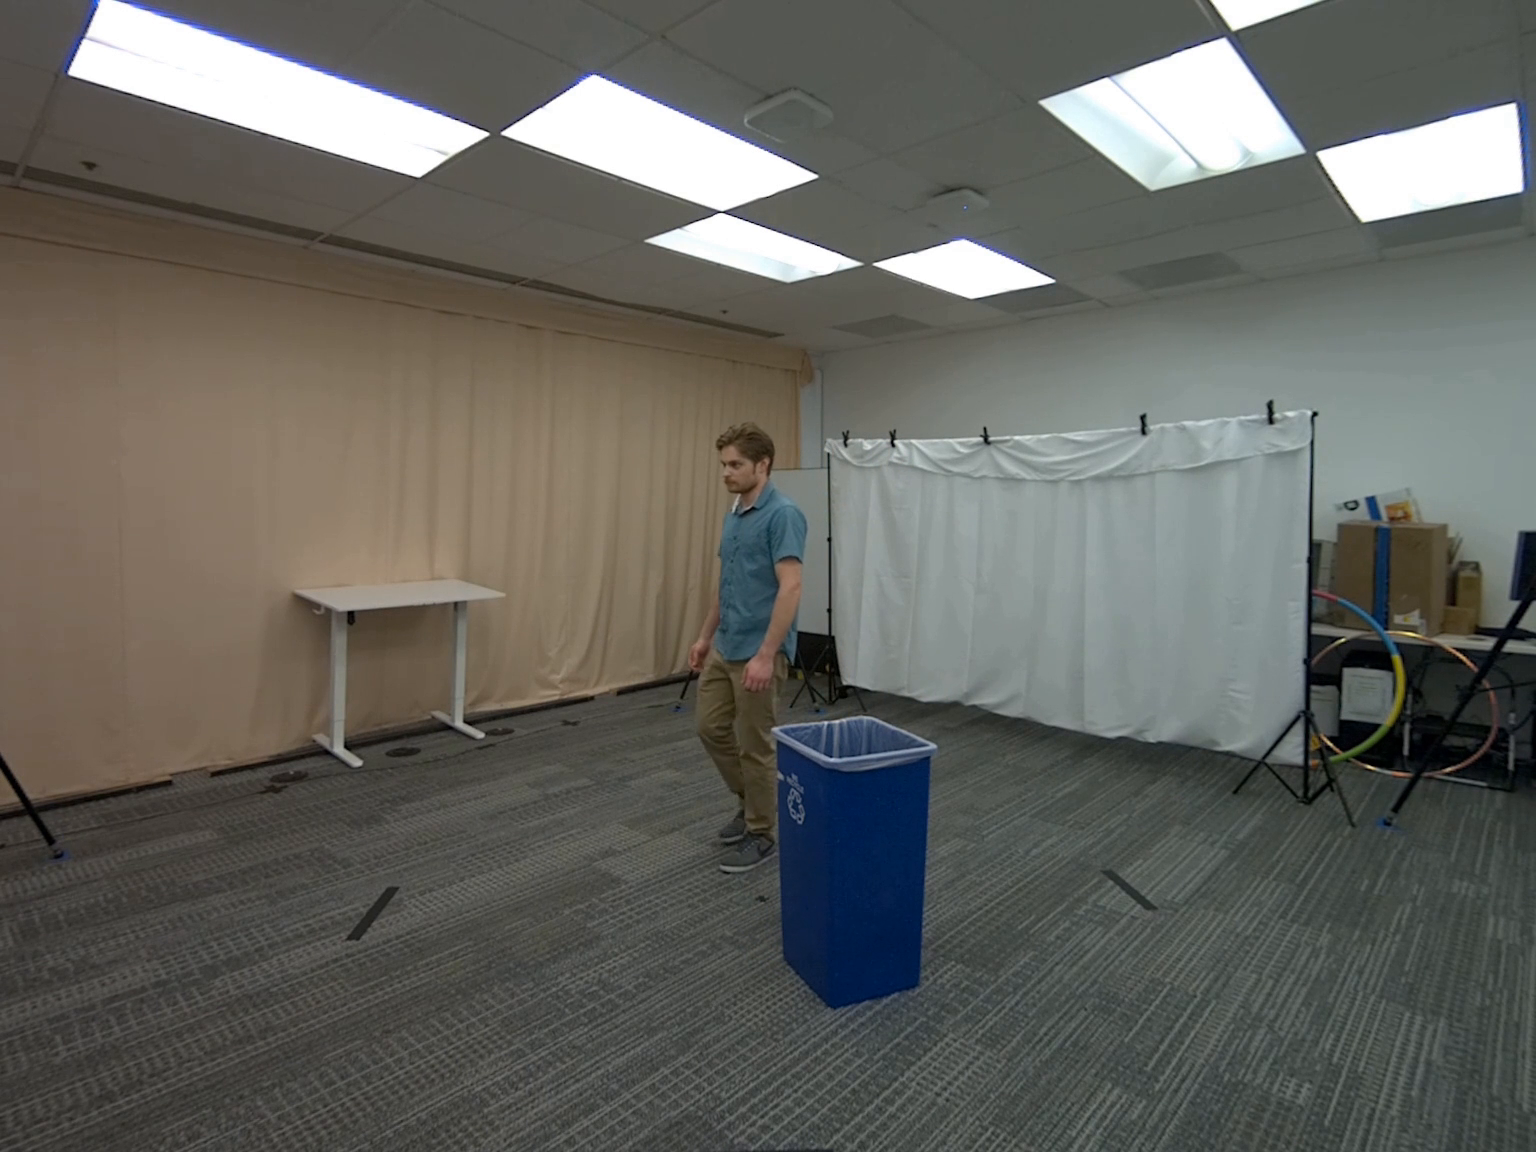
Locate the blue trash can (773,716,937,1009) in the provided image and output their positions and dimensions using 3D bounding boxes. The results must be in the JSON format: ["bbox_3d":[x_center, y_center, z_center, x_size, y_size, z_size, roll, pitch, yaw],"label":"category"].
[{"bbox_3d":[0.256,0.827,2.492,0.369,0.712,0.384,-2,4,-25],"label":"blue trash can"}]
